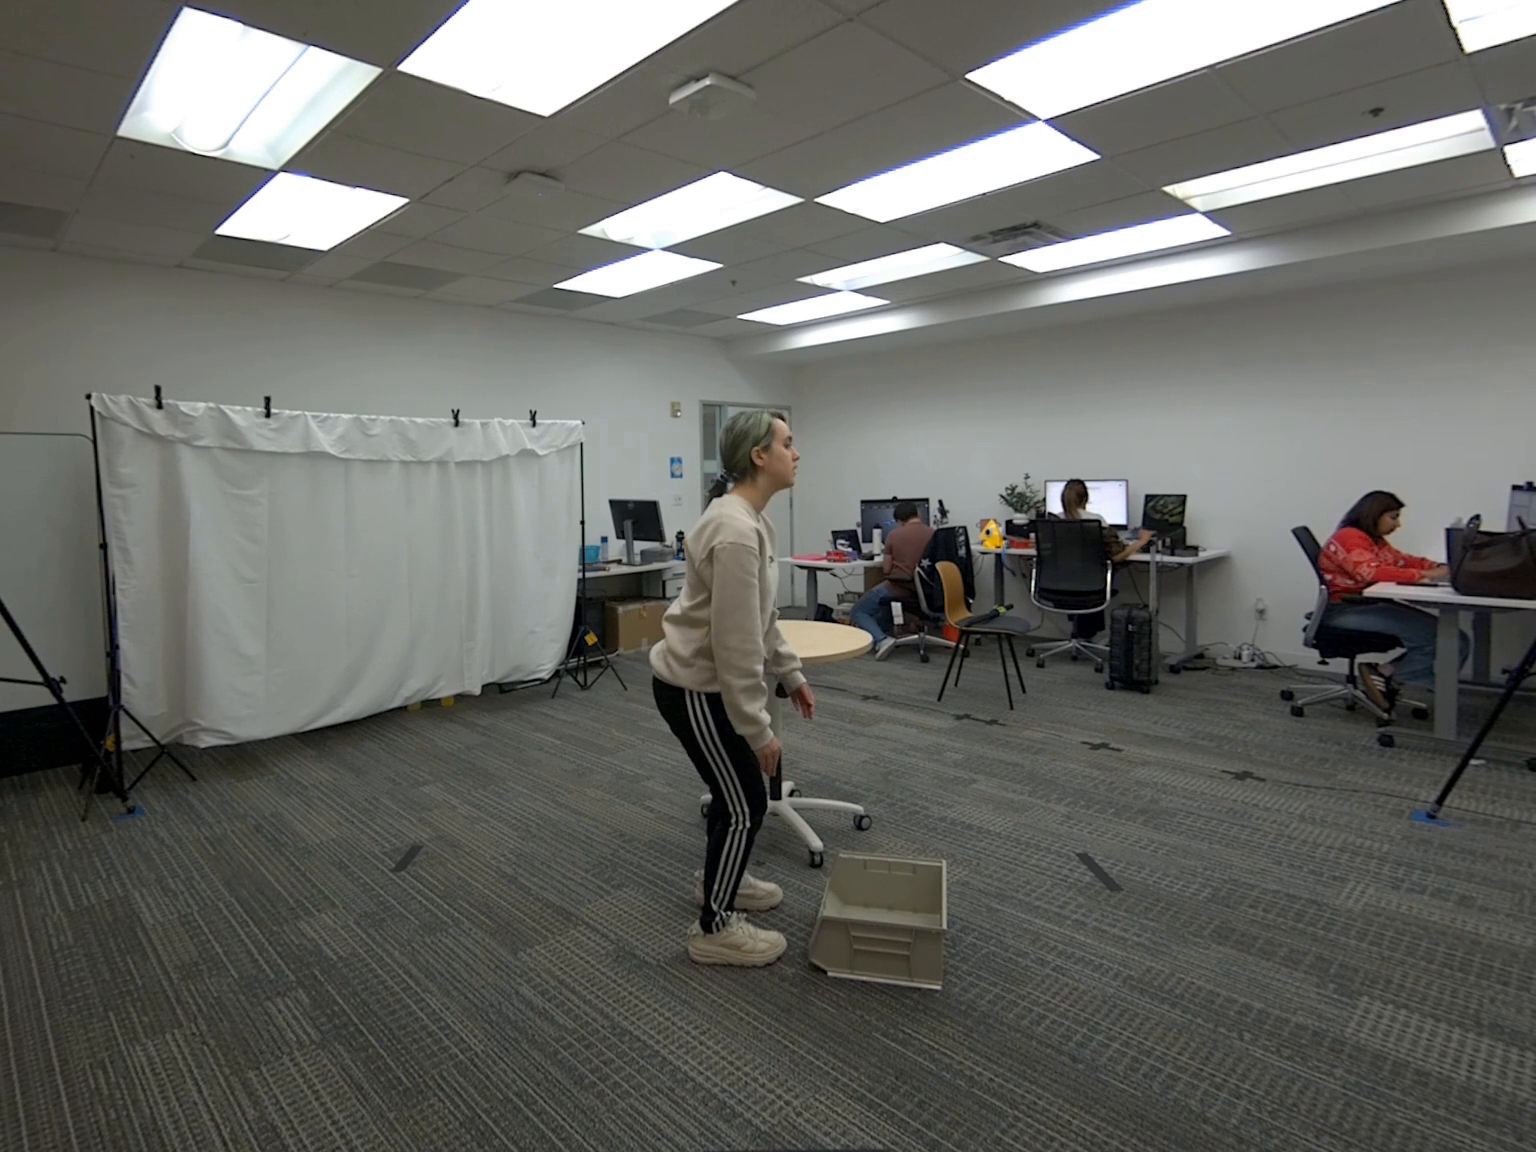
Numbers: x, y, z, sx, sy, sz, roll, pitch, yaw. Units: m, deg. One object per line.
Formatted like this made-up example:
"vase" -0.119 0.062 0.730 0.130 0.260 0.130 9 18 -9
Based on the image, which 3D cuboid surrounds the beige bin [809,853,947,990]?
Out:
"beige bin" 0.337 1.010 2.555 0.382 0.188 0.419 1 6 12
